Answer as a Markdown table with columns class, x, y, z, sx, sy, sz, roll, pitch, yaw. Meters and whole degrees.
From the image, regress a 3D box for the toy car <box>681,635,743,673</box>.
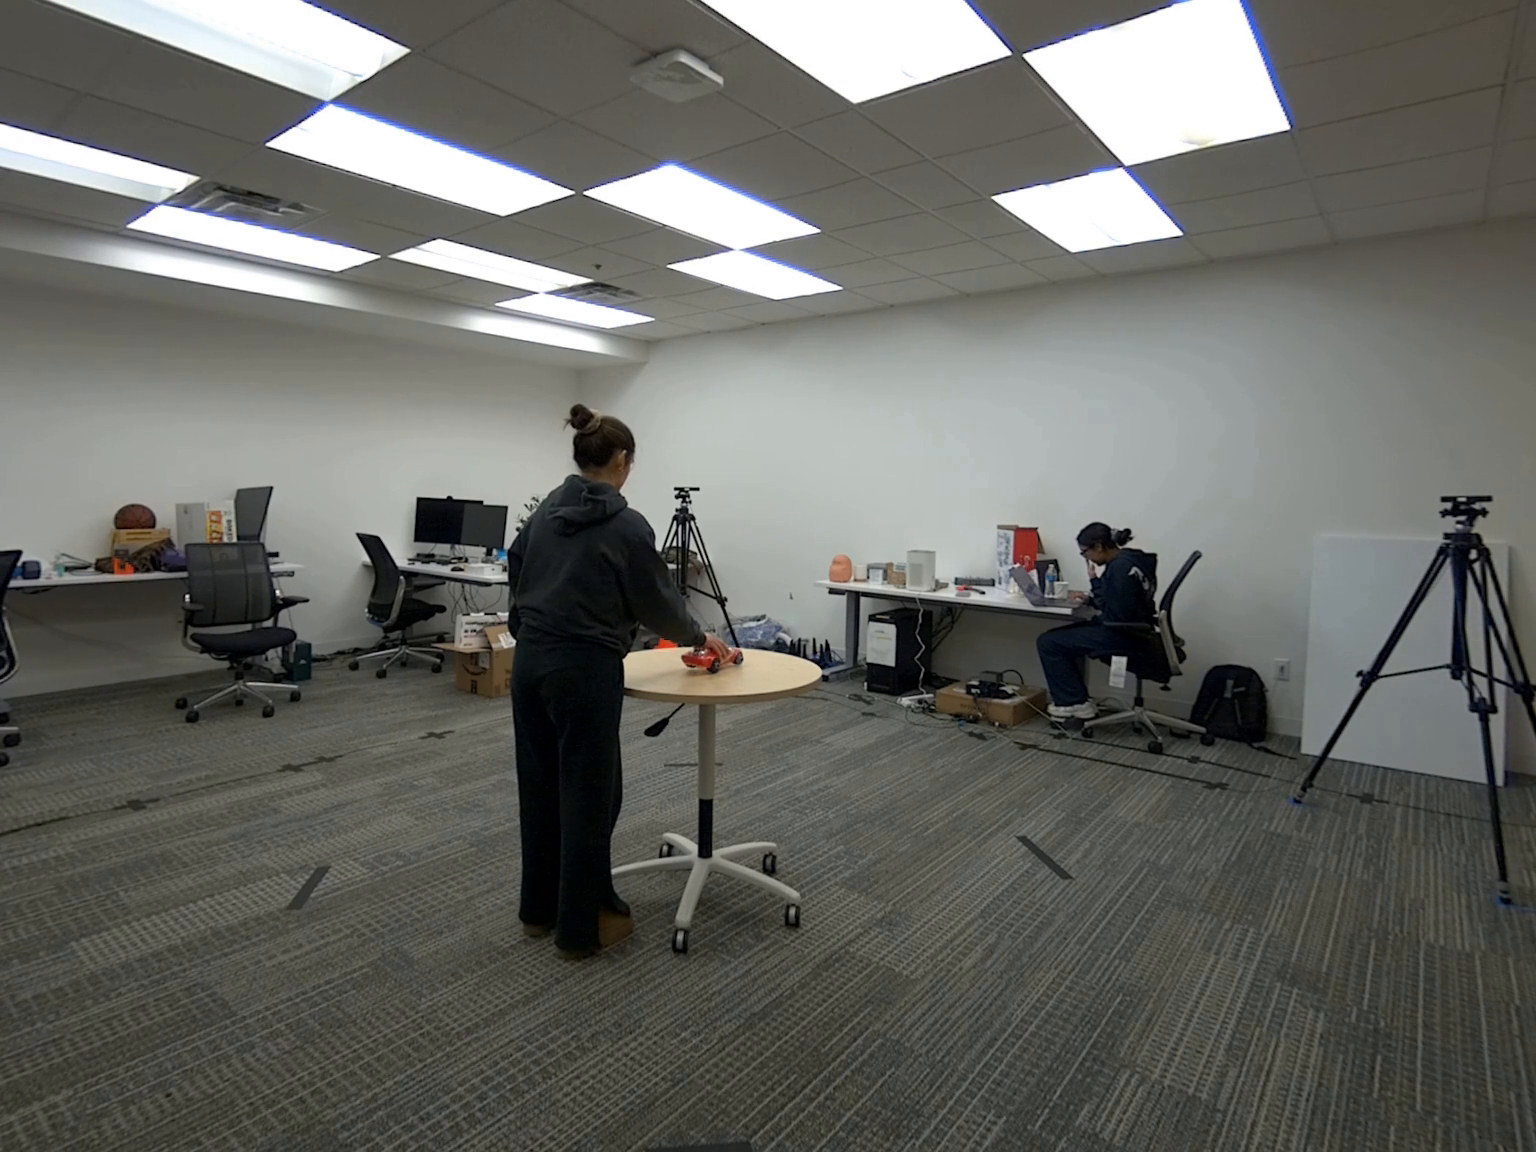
| class | x | y | z | sx | sy | sz | roll | pitch | yaw |
| --- | --- | --- | --- | --- | --- | --- | --- | --- | --- |
| toy car | -0.200 | 0.268 | 2.841 | 0.134 | 0.083 | 0.246 | 6 | -1 | 31 |
